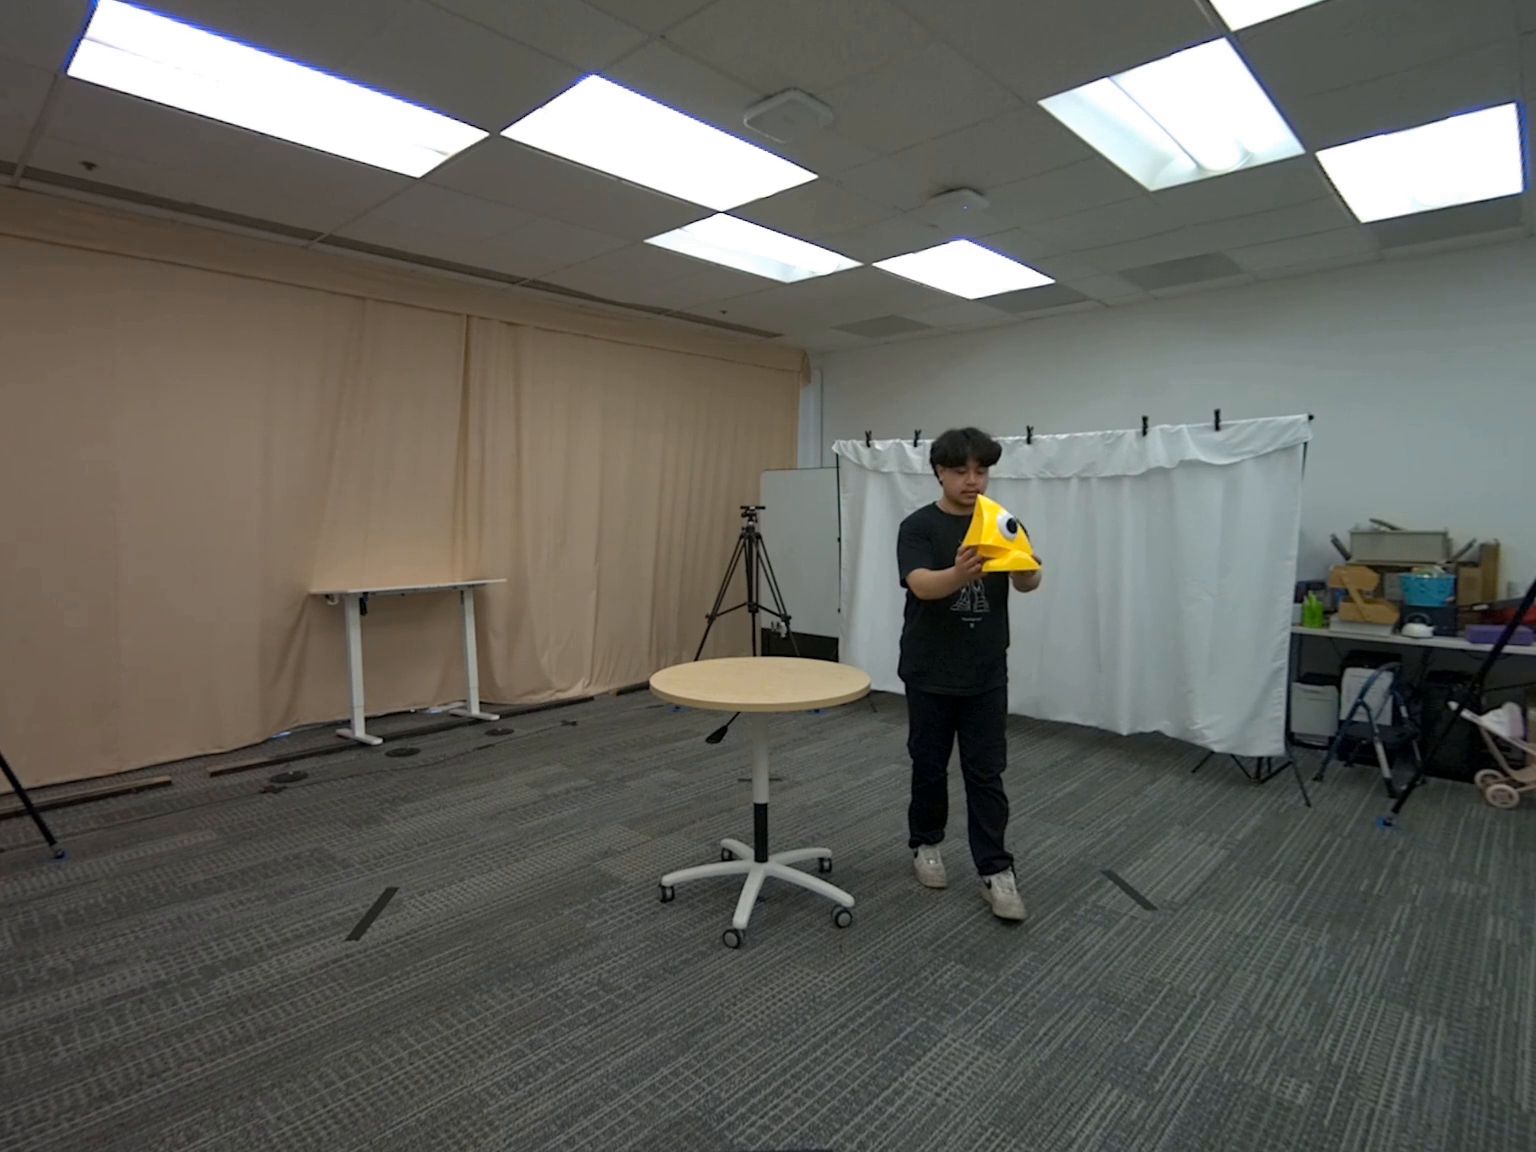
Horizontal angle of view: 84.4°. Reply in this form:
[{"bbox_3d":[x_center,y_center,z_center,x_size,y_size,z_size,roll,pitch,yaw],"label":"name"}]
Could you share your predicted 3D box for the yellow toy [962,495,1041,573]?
[{"bbox_3d":[0.691,-0.129,2.509,0.193,0.231,0.205,-3,-1,-3],"label":"yellow toy"}]
